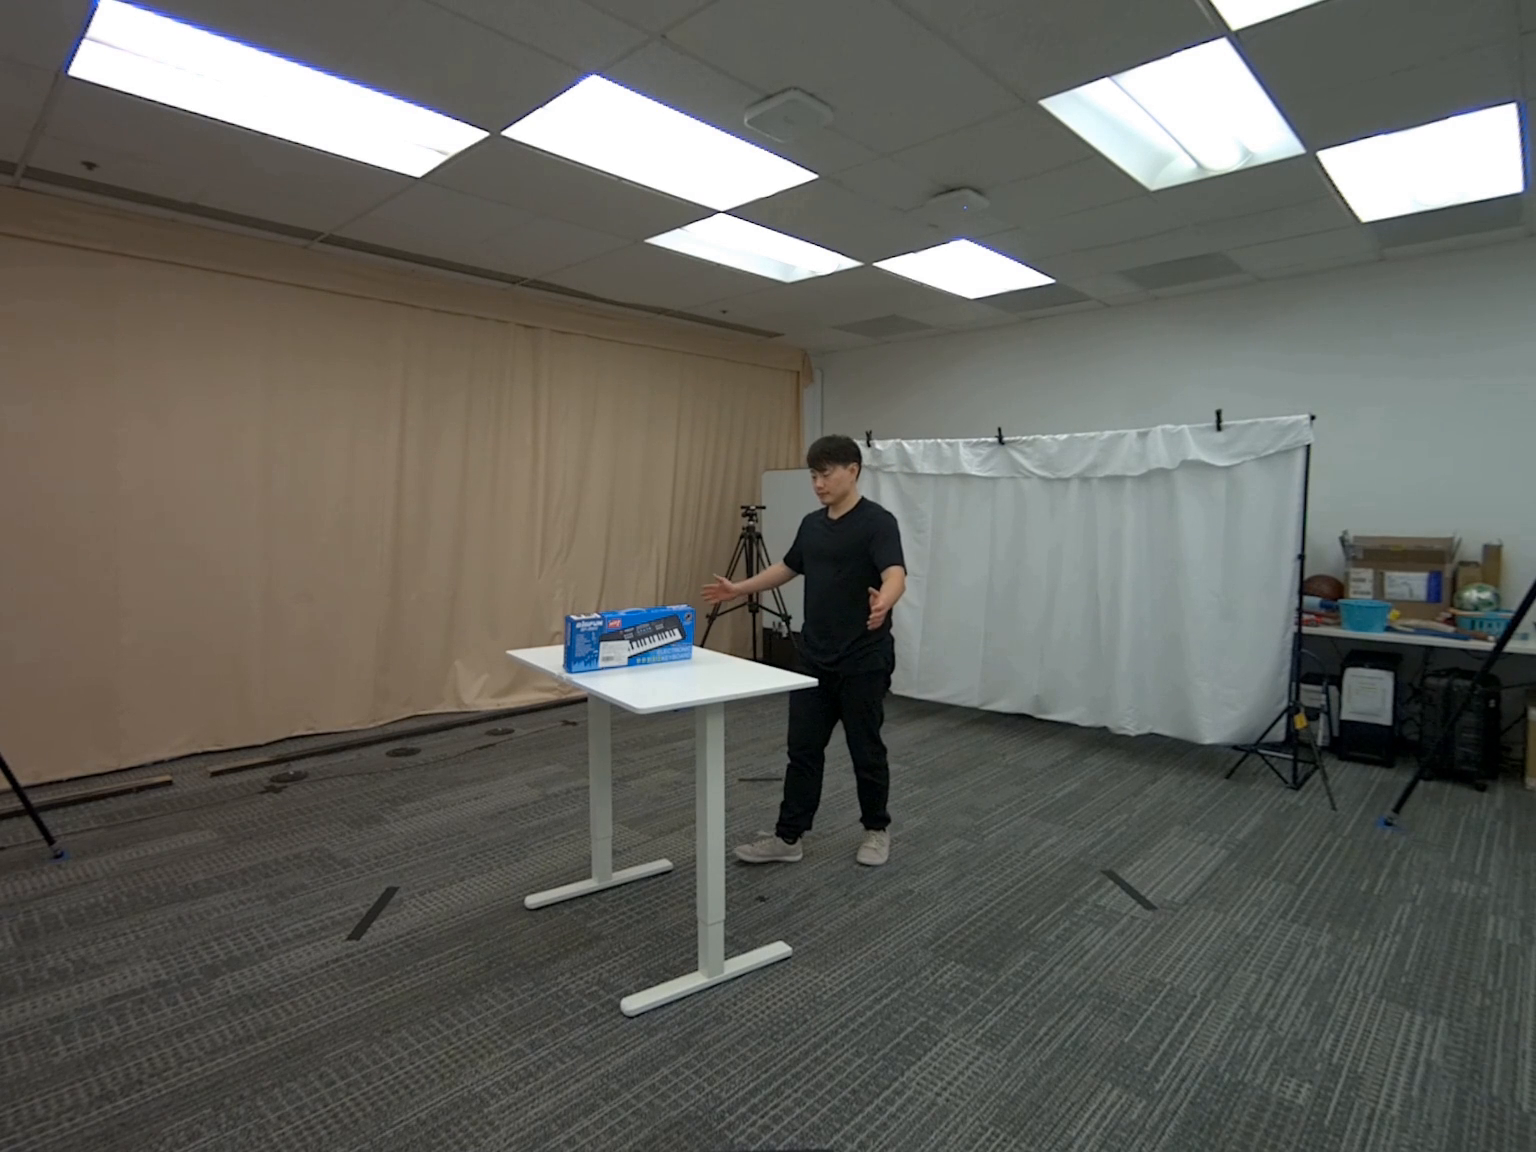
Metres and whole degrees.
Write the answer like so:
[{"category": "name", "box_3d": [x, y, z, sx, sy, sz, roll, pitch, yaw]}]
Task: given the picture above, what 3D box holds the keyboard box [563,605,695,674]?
[{"category": "keyboard box", "box_3d": [-0.442, 0.201, 2.694, 0.424, 0.175, 0.061, -3, 13, -33]}]
